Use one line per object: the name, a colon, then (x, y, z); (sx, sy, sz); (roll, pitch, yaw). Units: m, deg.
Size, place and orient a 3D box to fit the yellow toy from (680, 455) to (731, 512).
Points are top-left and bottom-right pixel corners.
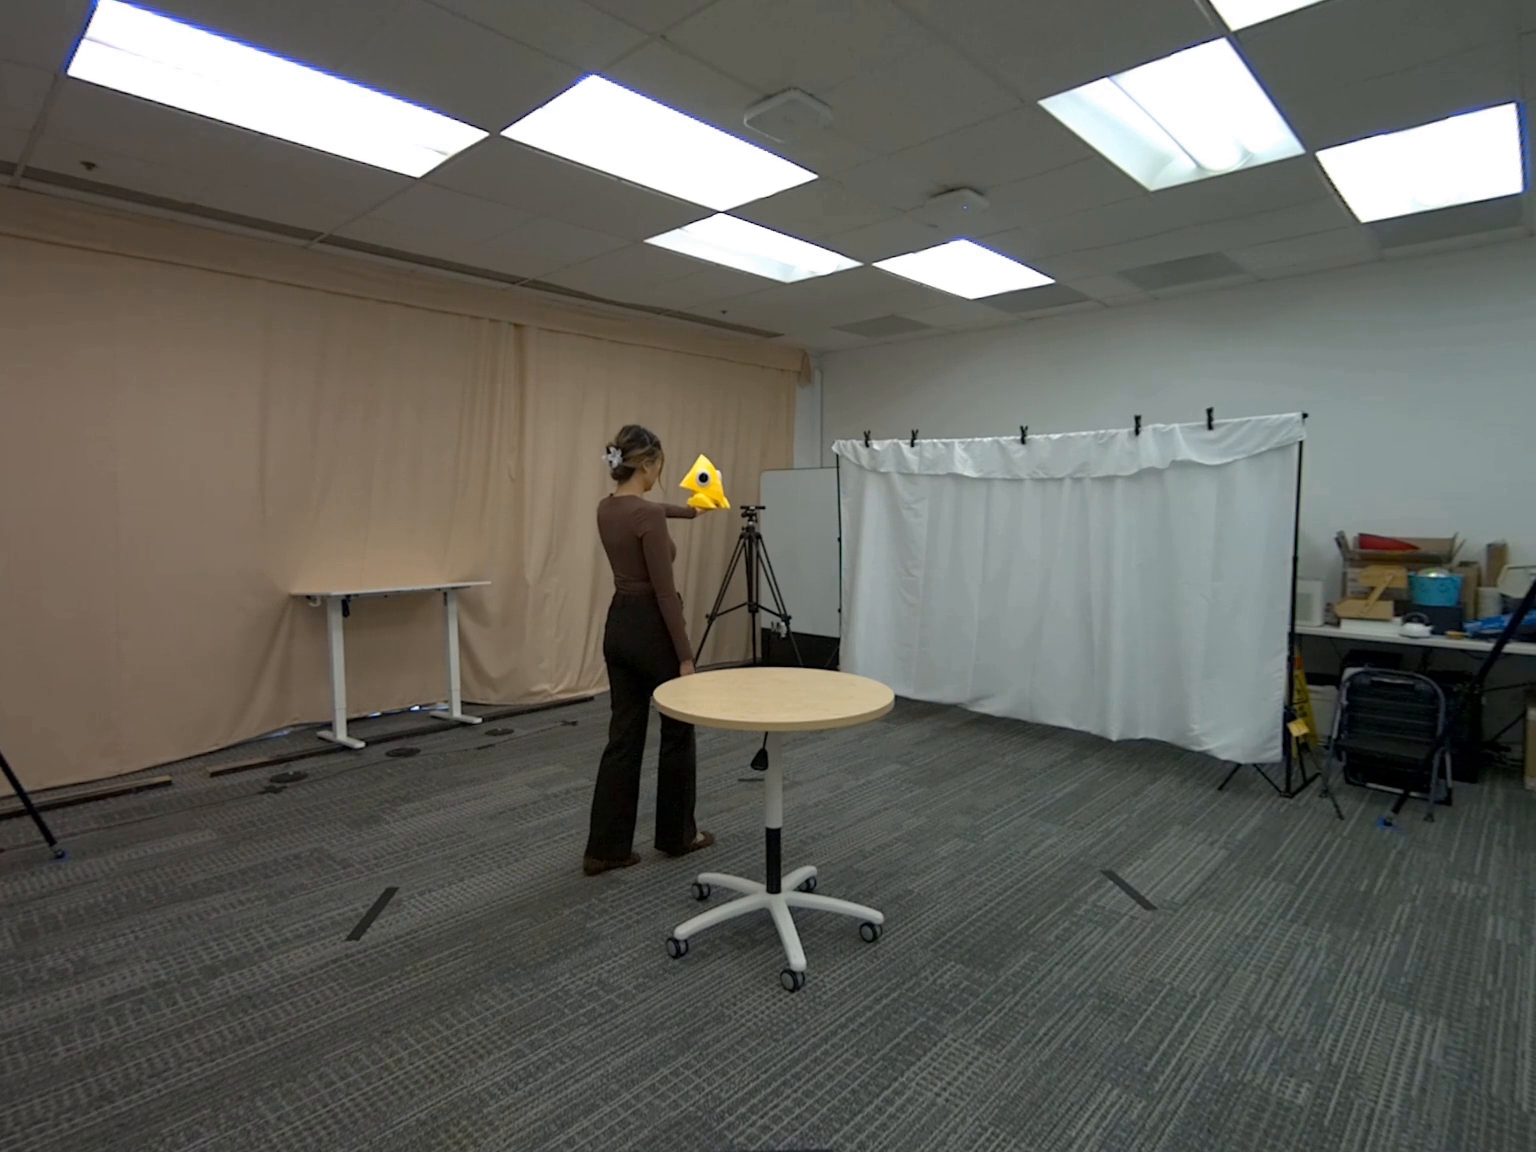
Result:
yellow toy: (-0.271, -0.442, 3.894); (0.199, 0.230, 0.199); (12, 9, 31)
